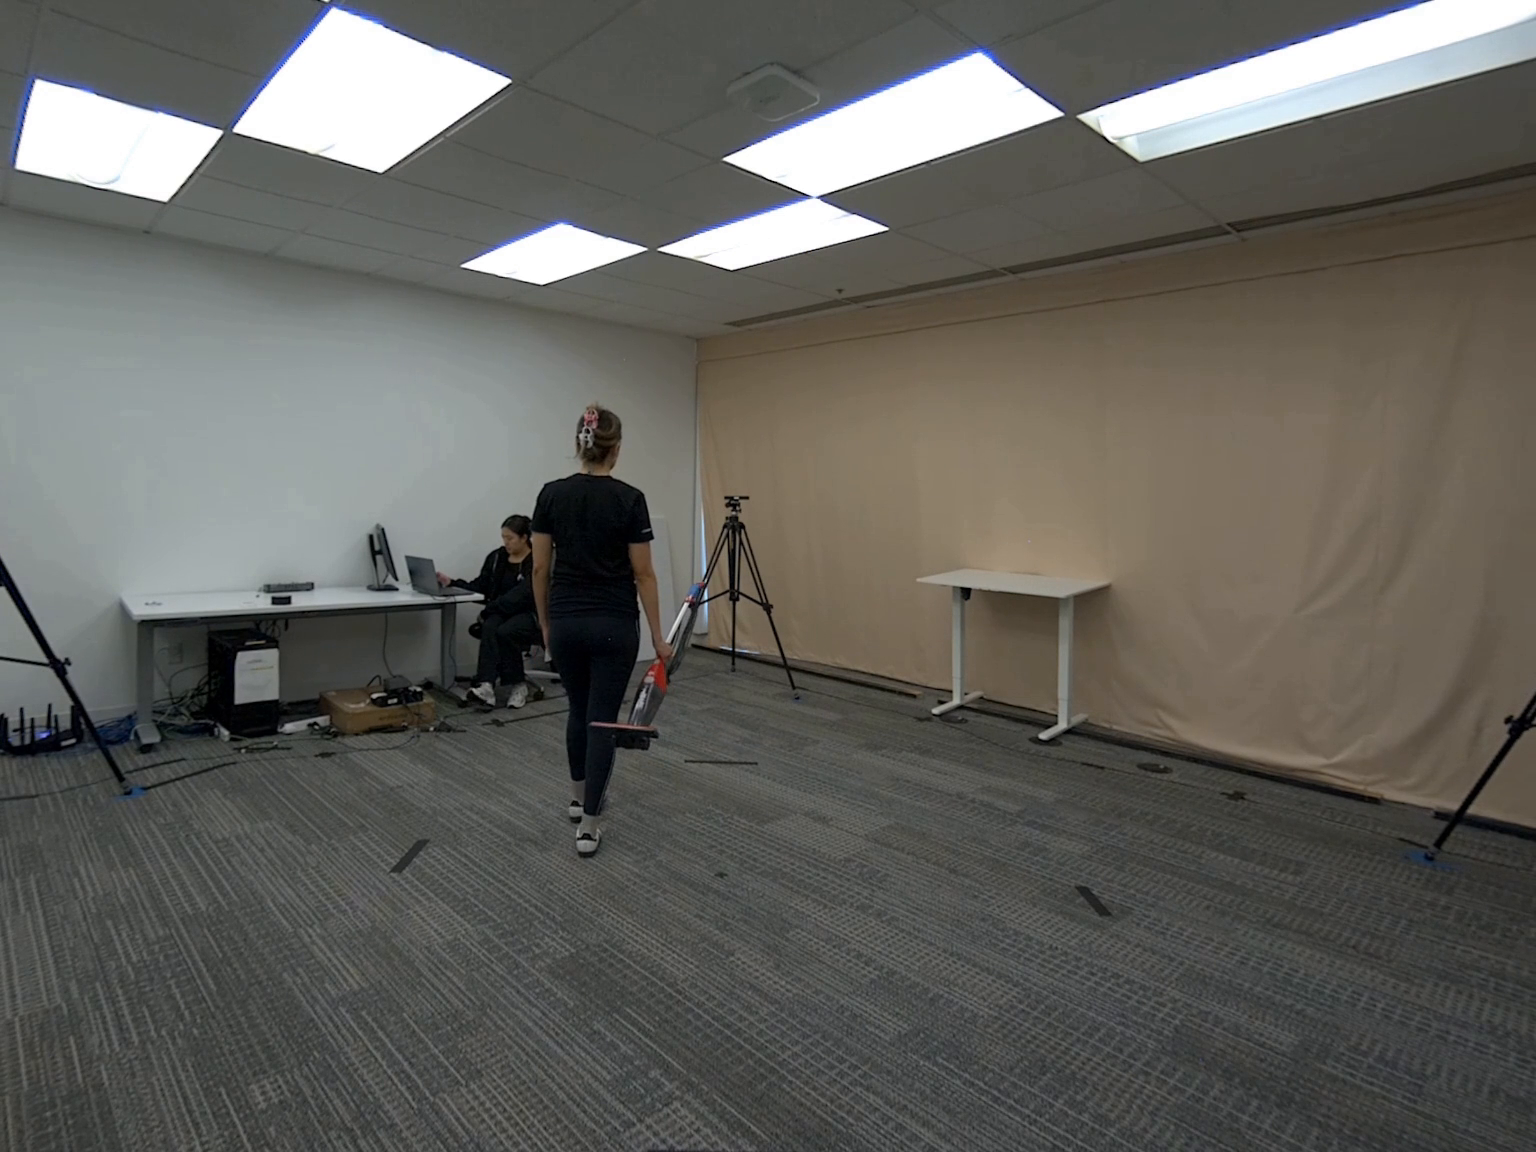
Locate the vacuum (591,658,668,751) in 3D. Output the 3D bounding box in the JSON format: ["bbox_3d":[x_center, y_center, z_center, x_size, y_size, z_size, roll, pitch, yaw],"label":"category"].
[{"bbox_3d":[-0.404,0.316,3.447,0.255,0.141,1.061,-1,33,14],"label":"vacuum"}]
